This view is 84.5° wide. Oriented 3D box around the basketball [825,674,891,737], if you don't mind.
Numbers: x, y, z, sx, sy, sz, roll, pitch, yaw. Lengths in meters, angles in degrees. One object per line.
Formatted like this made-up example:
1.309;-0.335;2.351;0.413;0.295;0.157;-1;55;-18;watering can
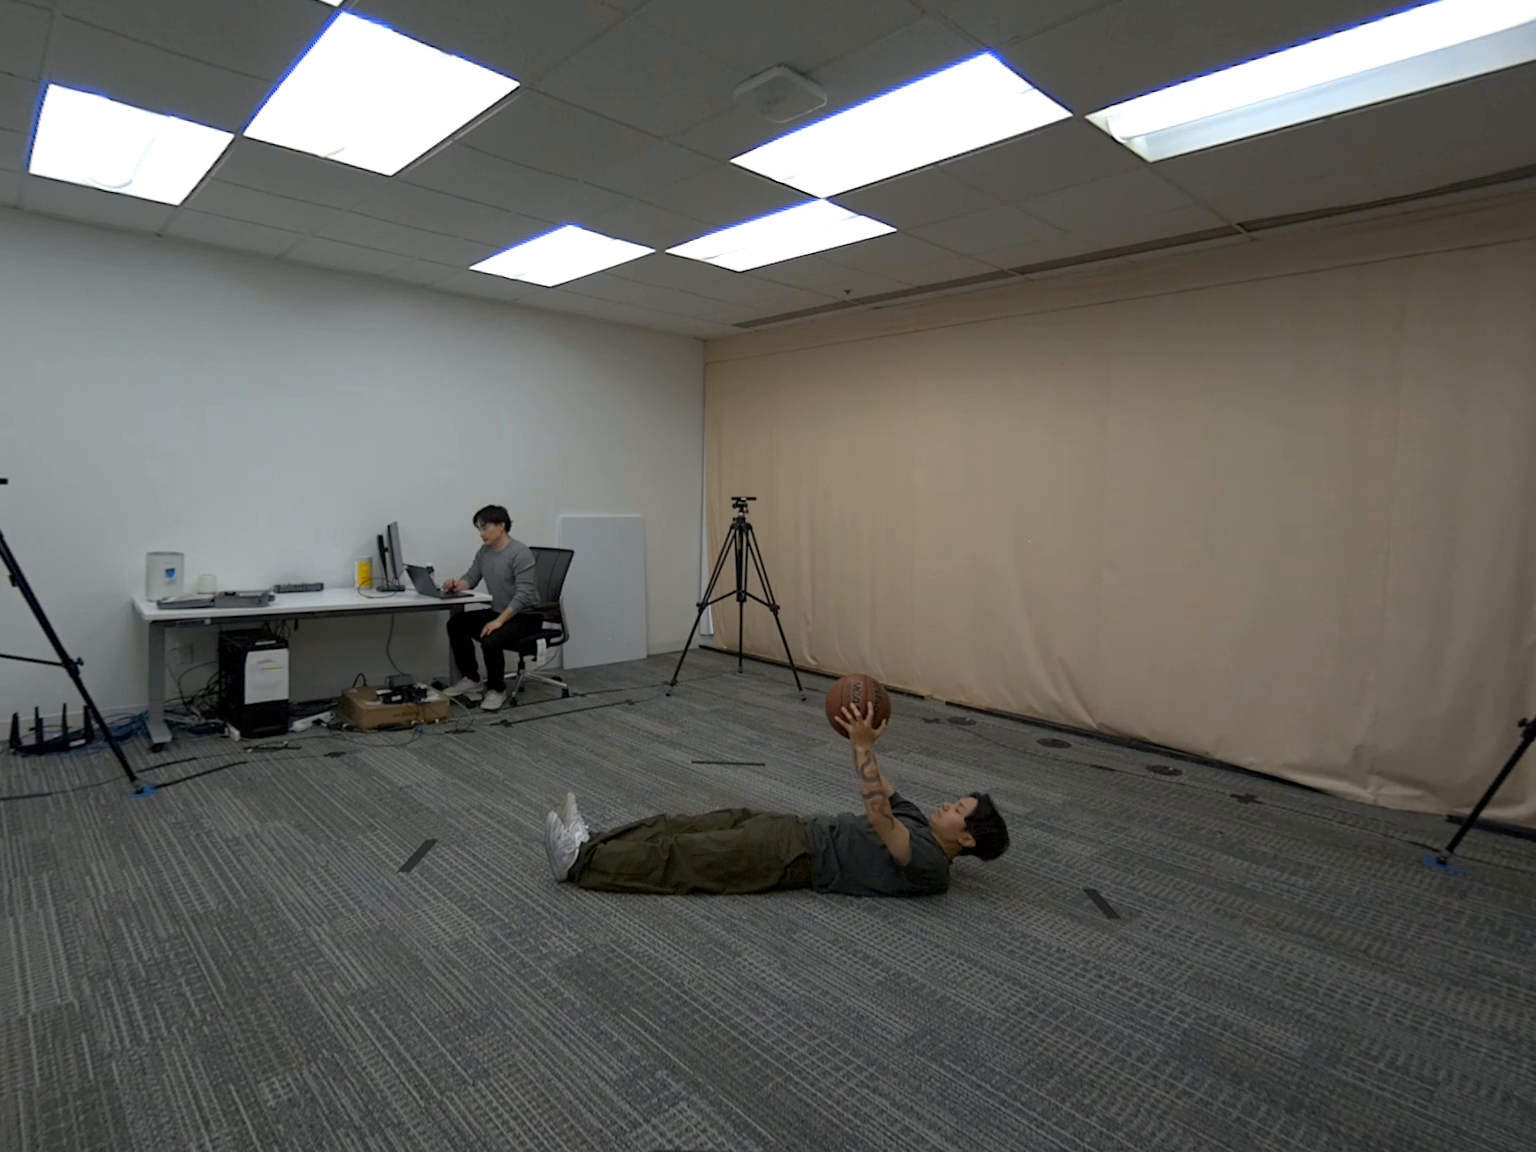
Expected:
0.323;0.481;3.080;0.236;0.235;0.237;1;4;-1;basketball
